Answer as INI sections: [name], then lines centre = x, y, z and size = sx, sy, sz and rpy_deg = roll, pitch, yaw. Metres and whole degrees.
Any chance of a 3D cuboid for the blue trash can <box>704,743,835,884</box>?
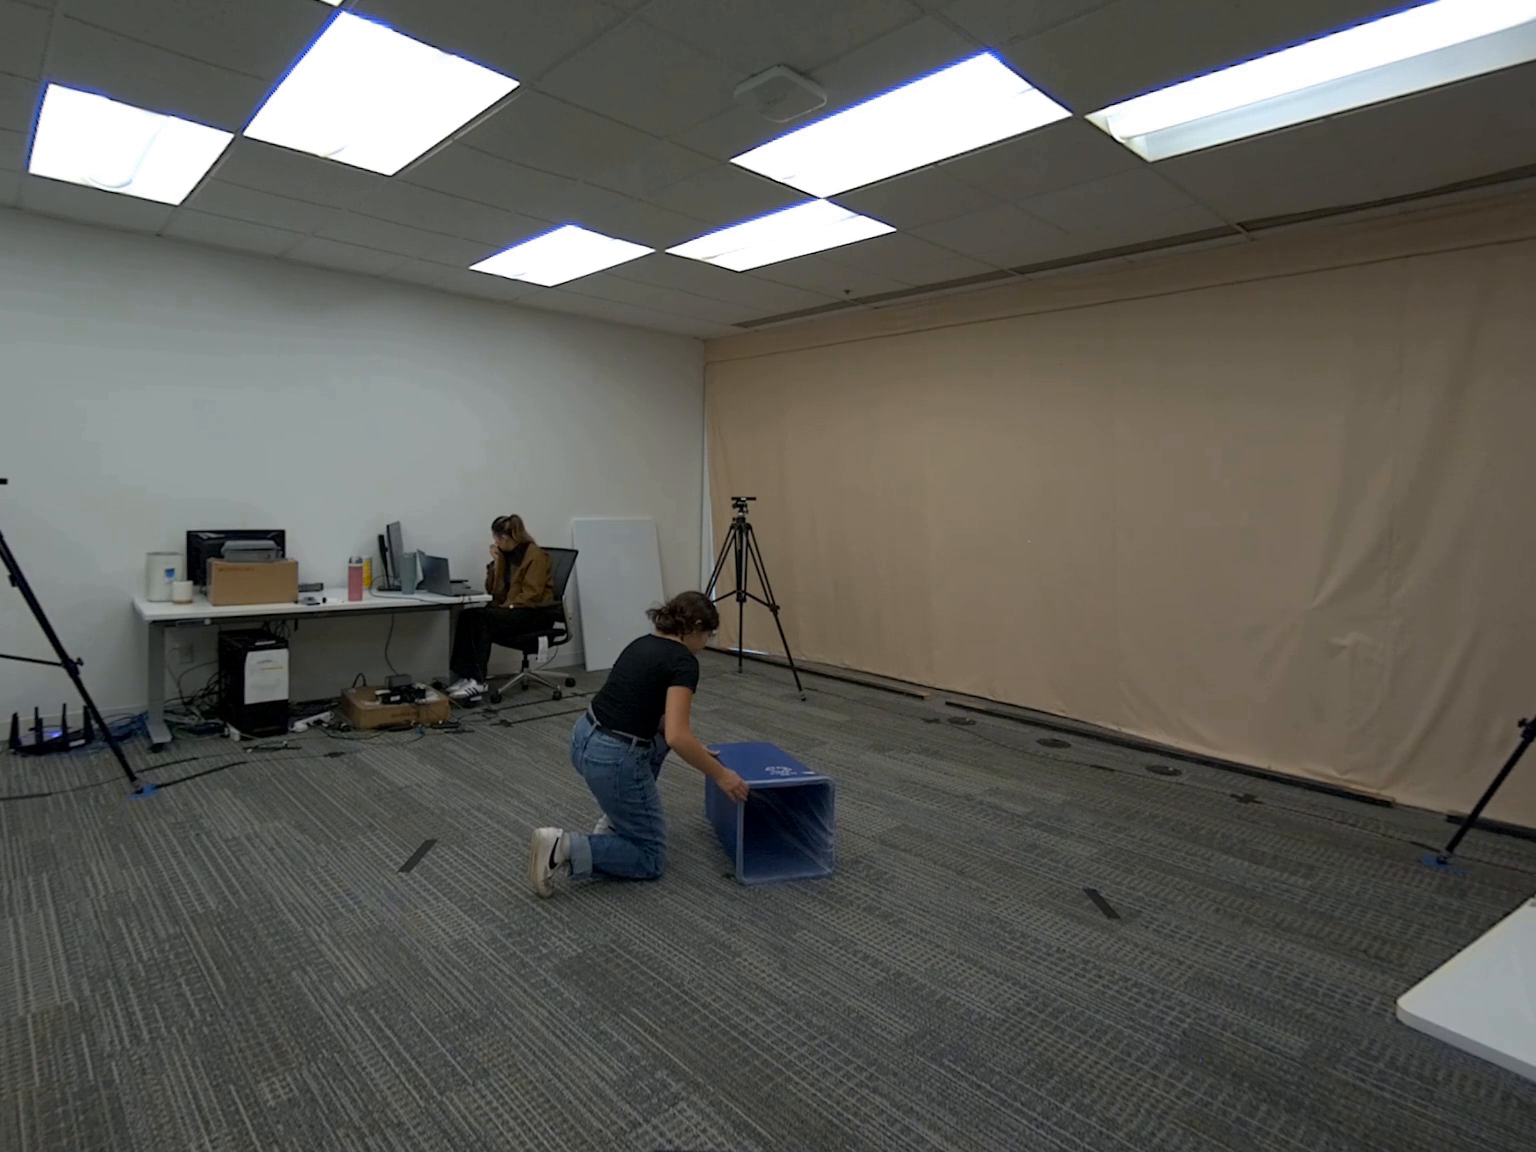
[blue trash can]
centre = -0.039, 0.914, 3.405
size = 0.369, 0.378, 0.723
rpy_deg = 0, 2, -16
